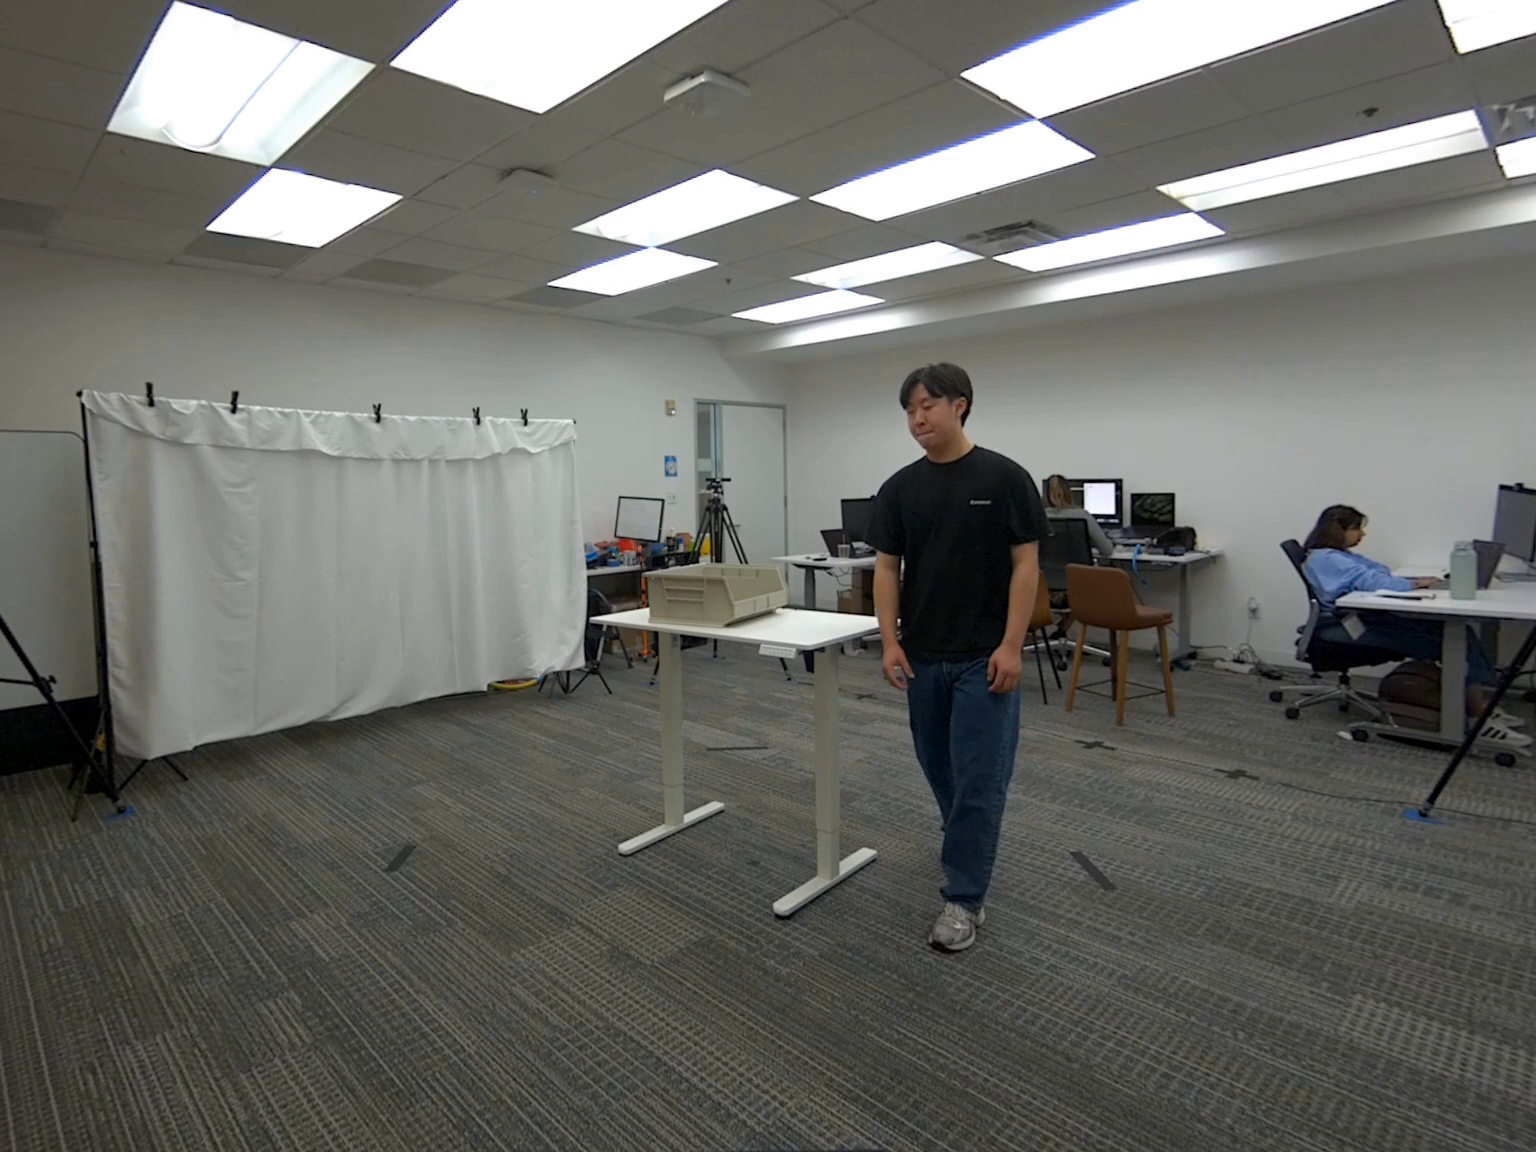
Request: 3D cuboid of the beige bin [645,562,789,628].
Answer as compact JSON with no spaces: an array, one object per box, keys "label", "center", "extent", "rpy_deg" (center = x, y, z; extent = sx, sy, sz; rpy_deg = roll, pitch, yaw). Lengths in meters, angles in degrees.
[{"label":"beige bin","center":[-0.185,0.069,3.164],"extent":[0.387,0.188,0.413],"rpy_deg":[1,6,29]}]
